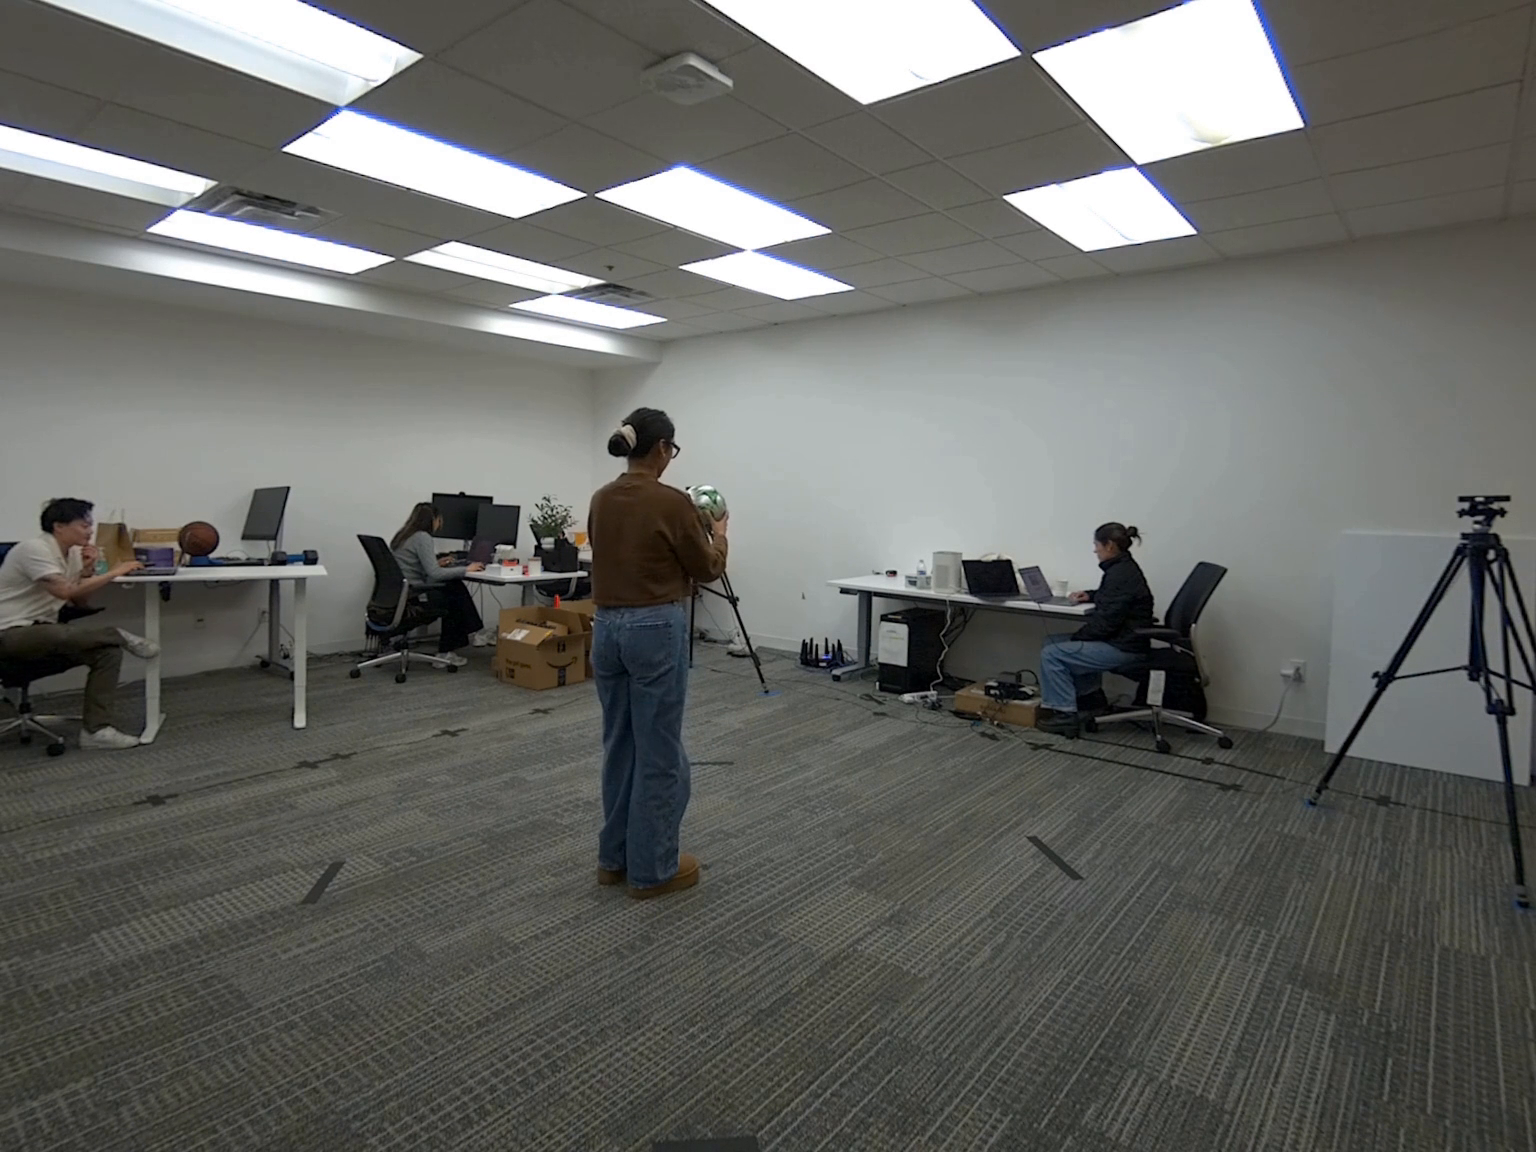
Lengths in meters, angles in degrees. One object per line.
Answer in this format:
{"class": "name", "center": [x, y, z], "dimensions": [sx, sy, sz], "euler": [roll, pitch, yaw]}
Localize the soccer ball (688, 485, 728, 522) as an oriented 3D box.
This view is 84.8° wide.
{"class": "soccer ball", "center": [-0.260, -0.260, 3.316], "dimensions": [0.187, 0.187, 0.188], "euler": [1, 4, -2]}
